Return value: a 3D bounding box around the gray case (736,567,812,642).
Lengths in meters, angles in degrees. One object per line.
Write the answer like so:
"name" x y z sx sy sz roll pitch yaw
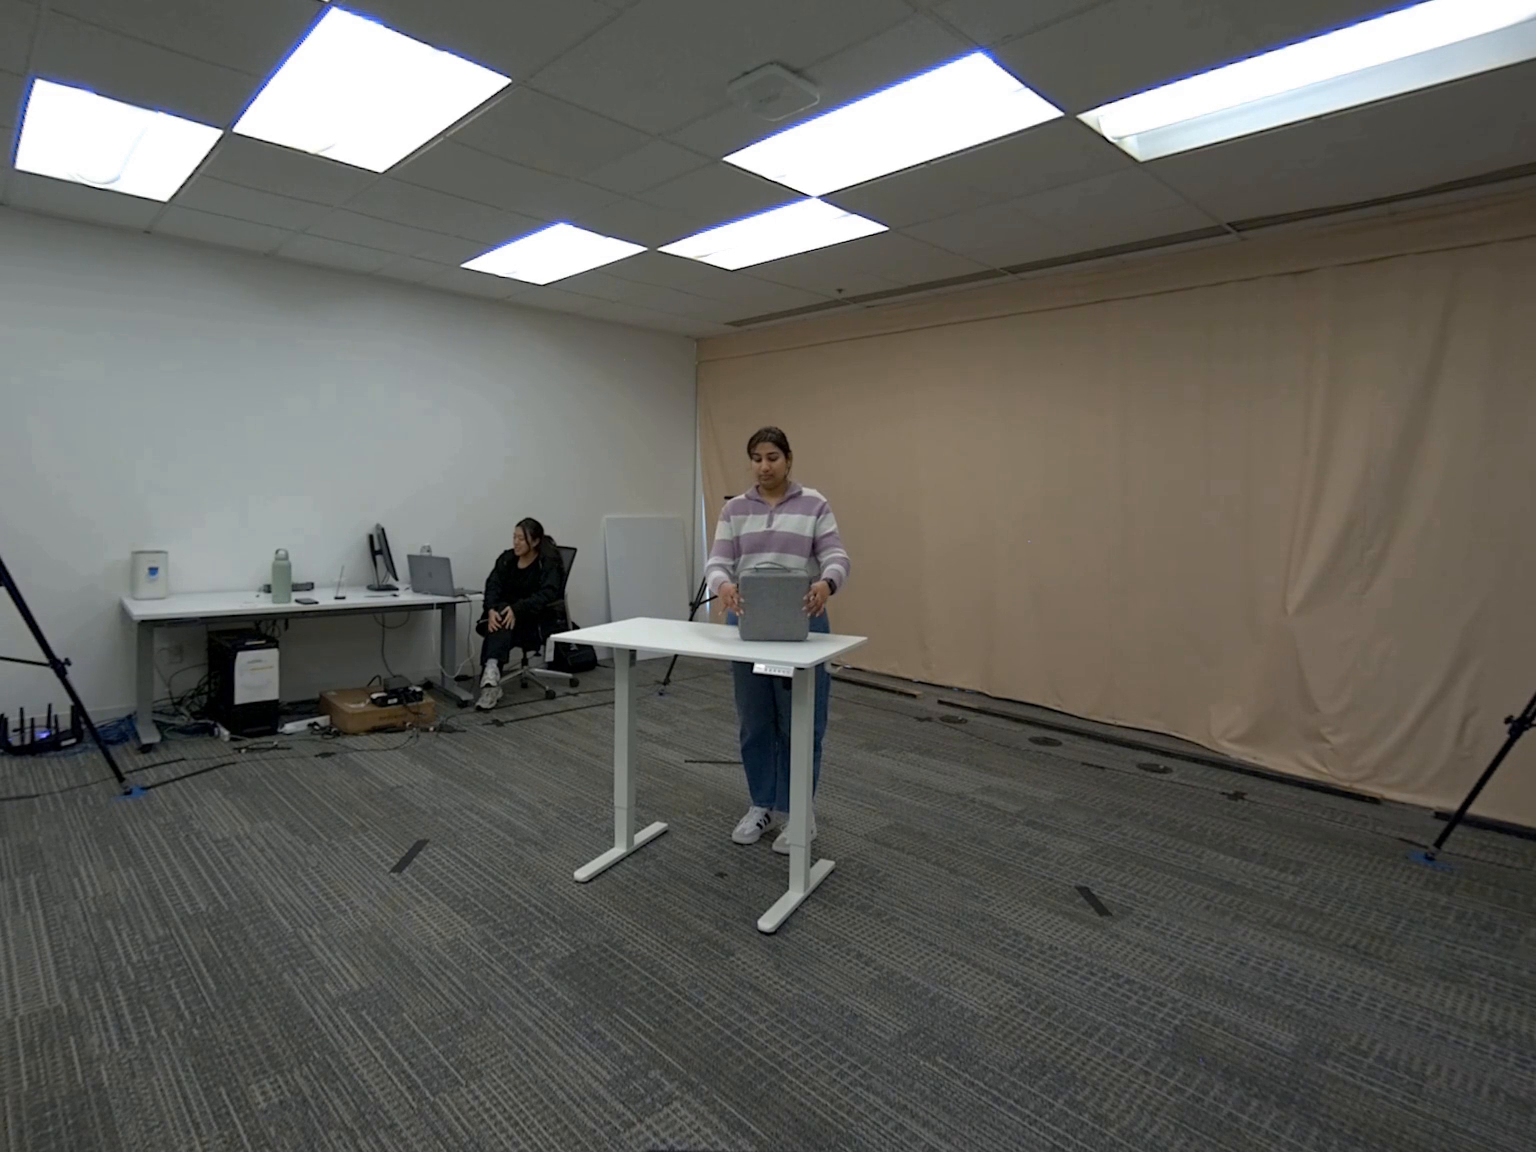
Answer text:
"gray case" 0.009 0.107 2.994 0.257 0.258 0.105 -2 13 3
